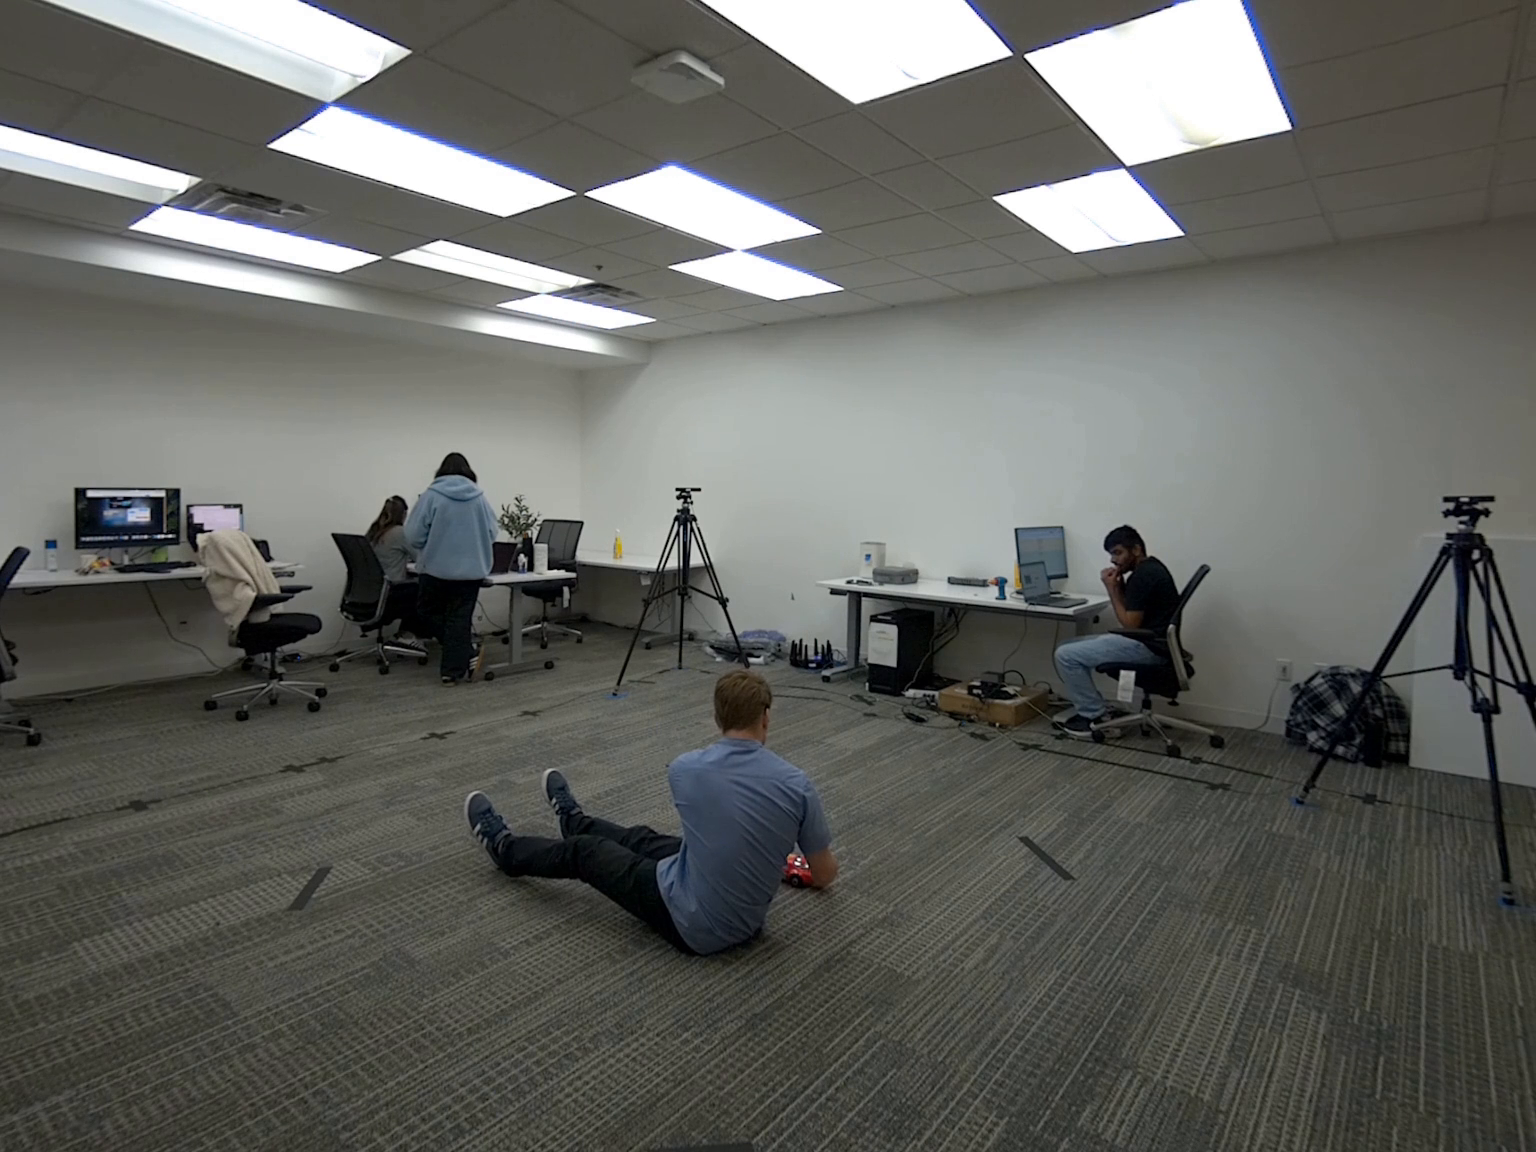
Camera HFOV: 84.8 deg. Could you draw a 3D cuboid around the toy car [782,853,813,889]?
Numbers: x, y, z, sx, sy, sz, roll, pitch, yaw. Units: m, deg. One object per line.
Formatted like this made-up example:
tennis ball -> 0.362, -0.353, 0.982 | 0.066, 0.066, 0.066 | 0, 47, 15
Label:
toy car -> 0.061, 1.044, 3.039 | 0.260, 0.083, 0.128 | -5, 5, 22
